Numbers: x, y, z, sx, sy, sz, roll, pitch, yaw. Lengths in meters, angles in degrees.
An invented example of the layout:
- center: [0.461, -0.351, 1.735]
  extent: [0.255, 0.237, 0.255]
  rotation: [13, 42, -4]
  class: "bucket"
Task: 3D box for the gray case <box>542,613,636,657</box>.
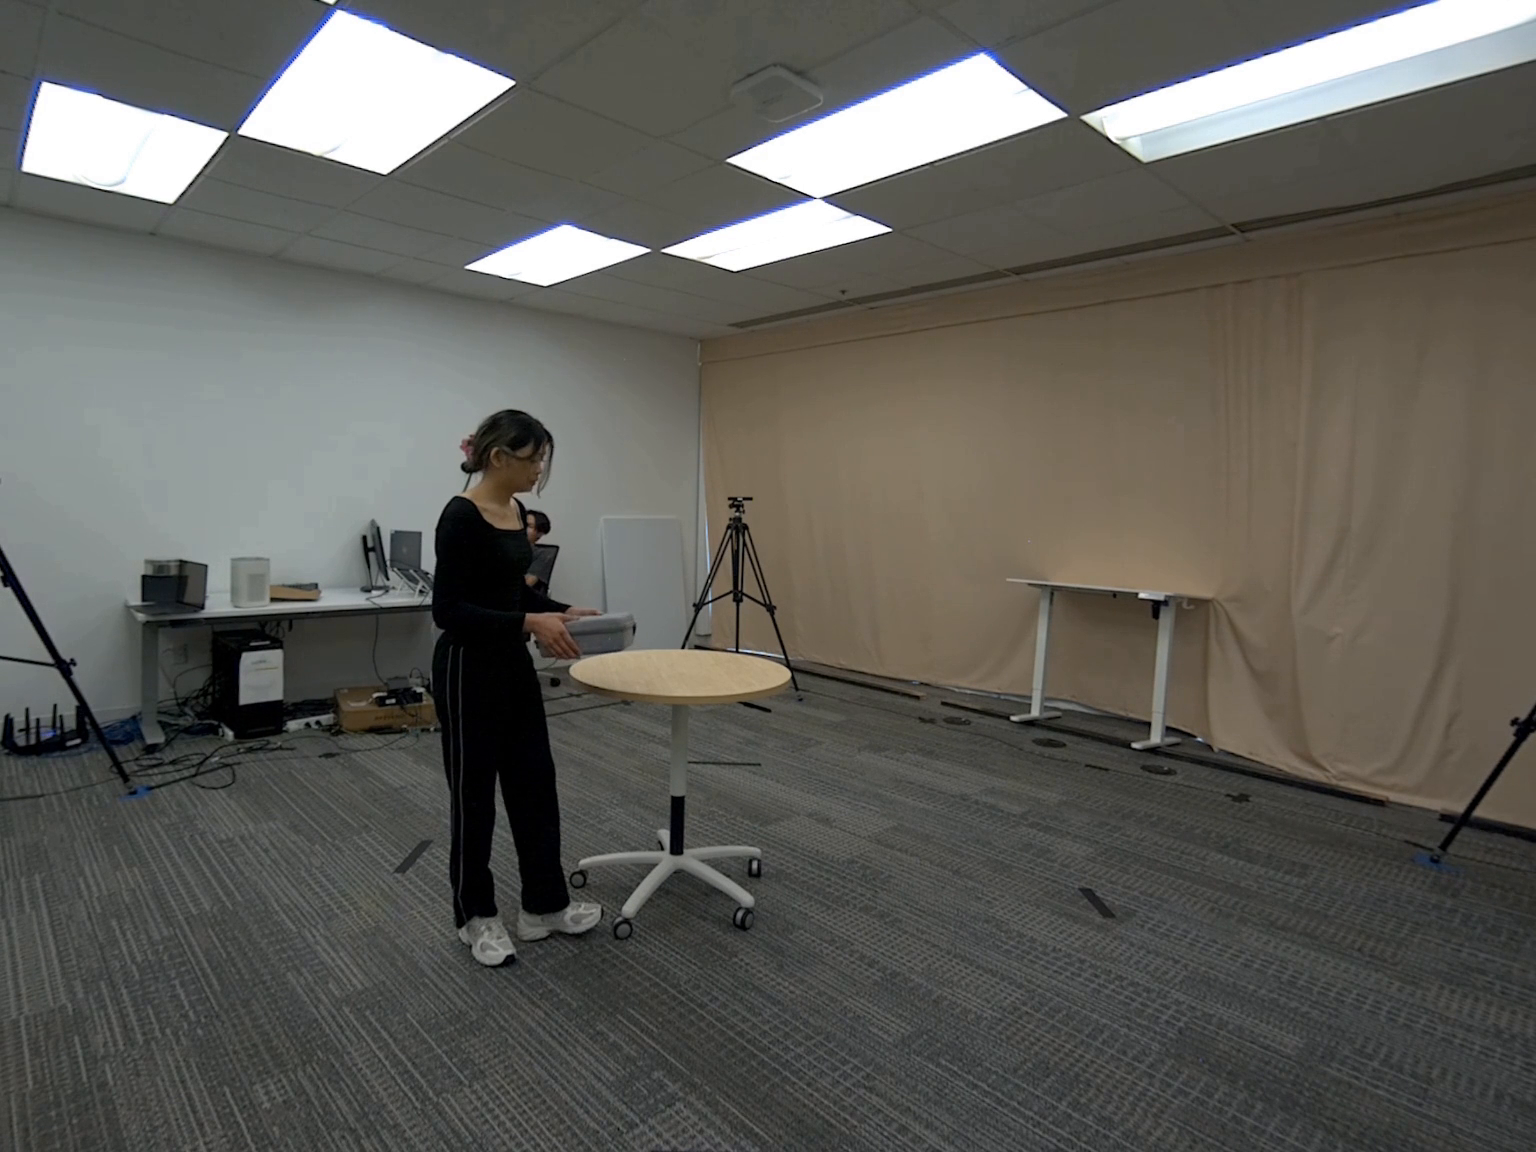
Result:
- center: [-0.547, 0.169, 2.510]
  extent: [0.260, 0.104, 0.258]
  rotation: [-6, 4, -2]
  class: "gray case"
